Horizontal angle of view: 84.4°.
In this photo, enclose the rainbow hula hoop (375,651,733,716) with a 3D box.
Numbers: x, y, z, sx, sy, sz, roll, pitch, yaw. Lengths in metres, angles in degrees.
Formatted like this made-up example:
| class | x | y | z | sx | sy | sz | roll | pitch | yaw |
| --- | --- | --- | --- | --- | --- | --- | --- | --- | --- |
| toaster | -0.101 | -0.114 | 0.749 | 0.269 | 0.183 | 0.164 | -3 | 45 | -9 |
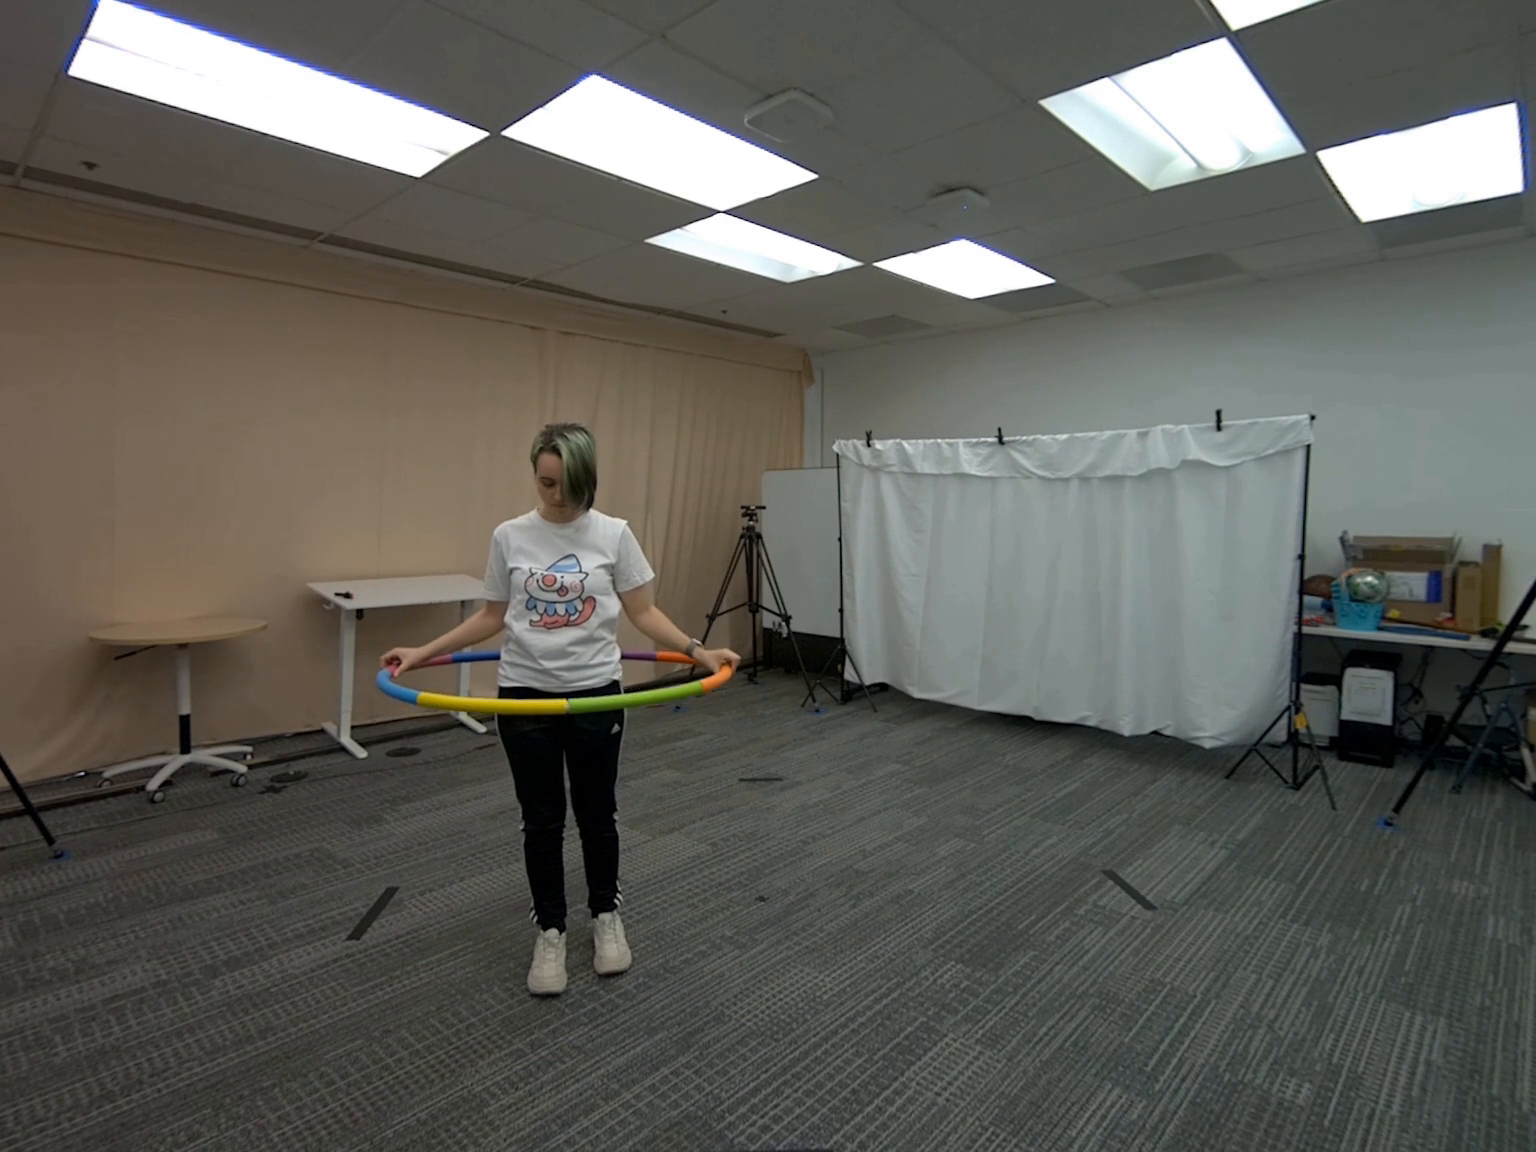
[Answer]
| class | x | y | z | sx | sy | sz | roll | pitch | yaw |
| --- | --- | --- | --- | --- | --- | --- | --- | --- | --- |
| rainbow hula hoop | -0.594 | 0.269 | 2.413 | 0.984 | 0.051 | 0.988 | 1 | 3 | -2 |
